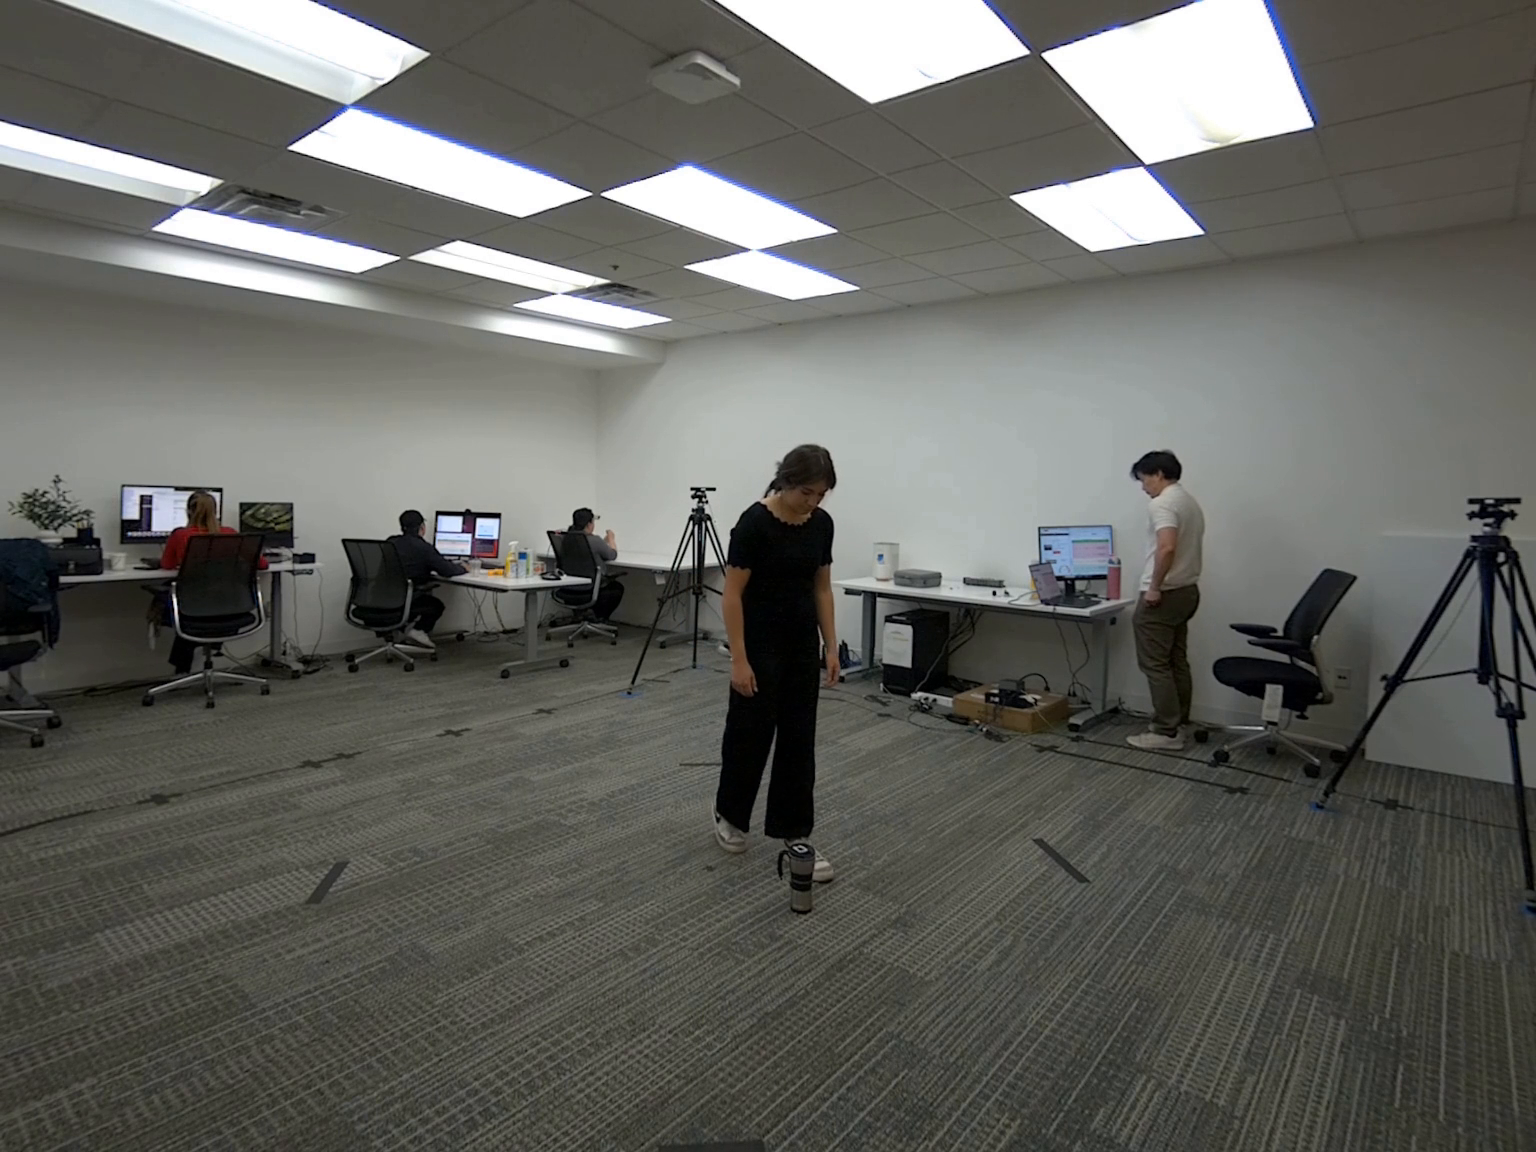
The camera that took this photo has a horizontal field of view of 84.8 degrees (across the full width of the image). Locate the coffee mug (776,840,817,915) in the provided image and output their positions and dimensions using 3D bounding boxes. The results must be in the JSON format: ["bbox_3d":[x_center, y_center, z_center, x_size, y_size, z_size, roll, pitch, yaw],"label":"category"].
[{"bbox_3d":[0.090,0.999,2.838,0.085,0.202,0.126,-4,8,-43],"label":"coffee mug"}]
